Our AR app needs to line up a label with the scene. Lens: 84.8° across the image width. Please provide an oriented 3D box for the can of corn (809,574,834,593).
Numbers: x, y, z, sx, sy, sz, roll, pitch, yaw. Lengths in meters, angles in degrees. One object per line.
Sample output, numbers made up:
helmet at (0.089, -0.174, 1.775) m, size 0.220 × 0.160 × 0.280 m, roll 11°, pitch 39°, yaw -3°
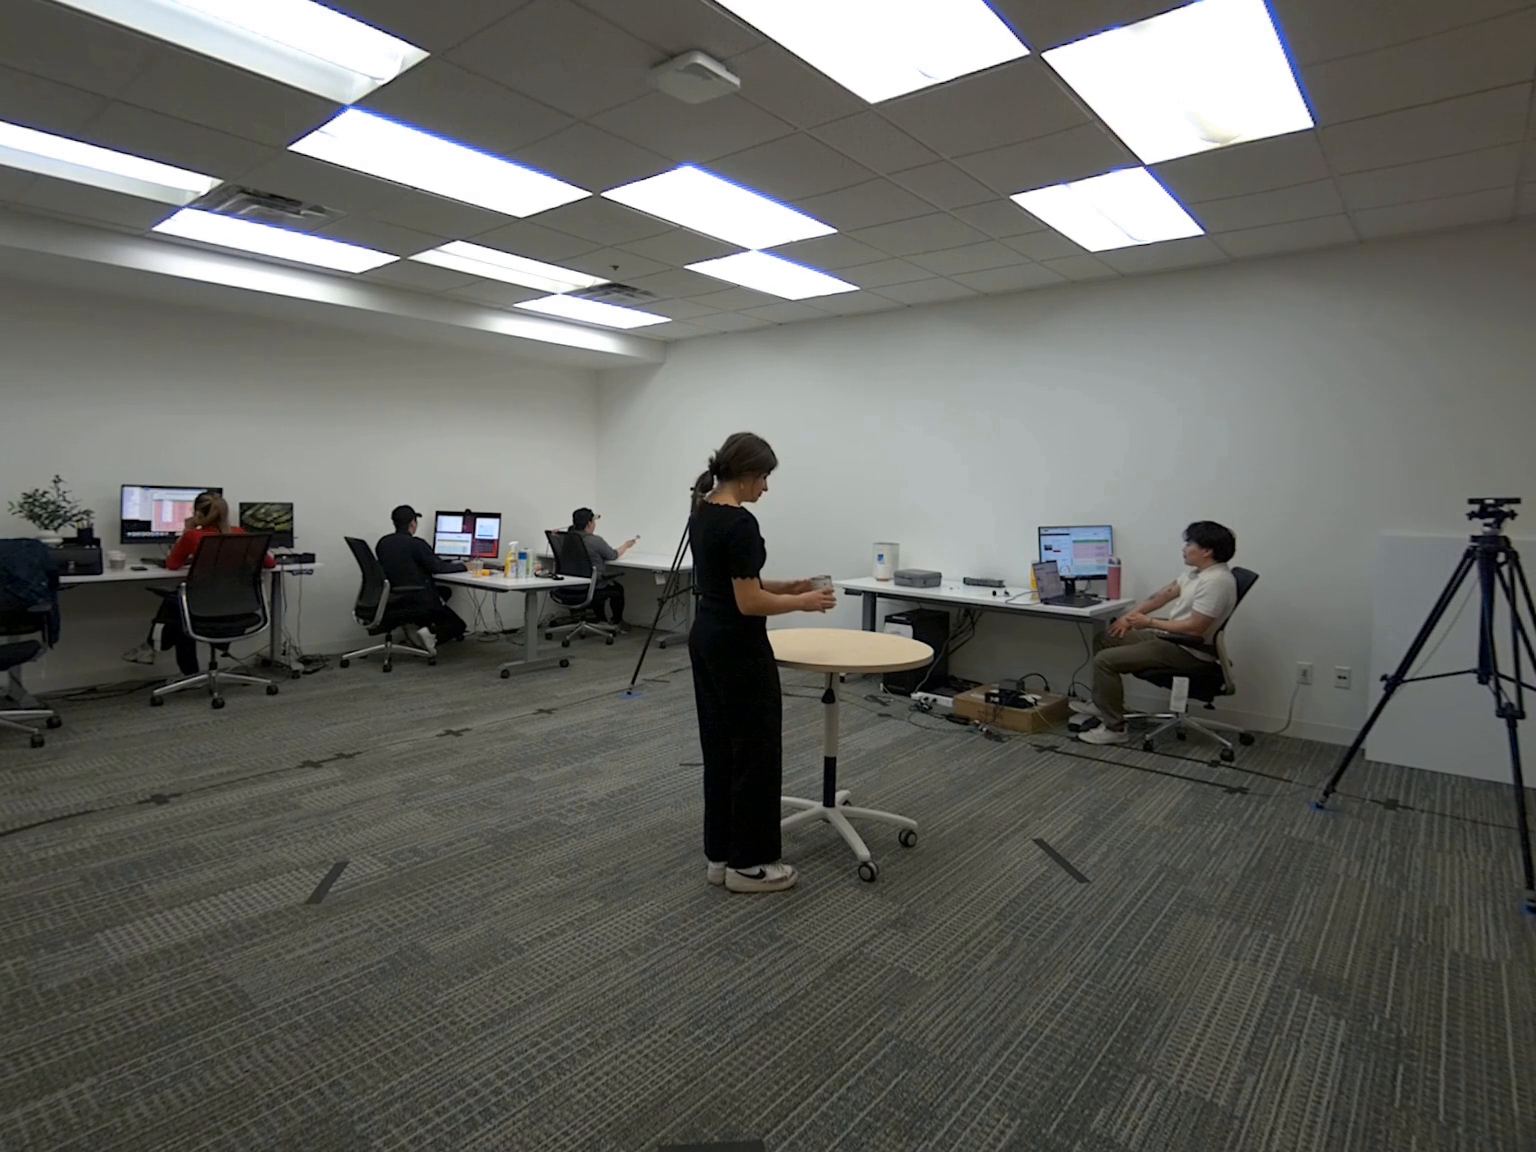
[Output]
can of corn at (0.184, 0.058, 3.020) m, size 0.074 × 0.111 × 0.074 m, roll -5°, pitch 3°, yaw -2°
